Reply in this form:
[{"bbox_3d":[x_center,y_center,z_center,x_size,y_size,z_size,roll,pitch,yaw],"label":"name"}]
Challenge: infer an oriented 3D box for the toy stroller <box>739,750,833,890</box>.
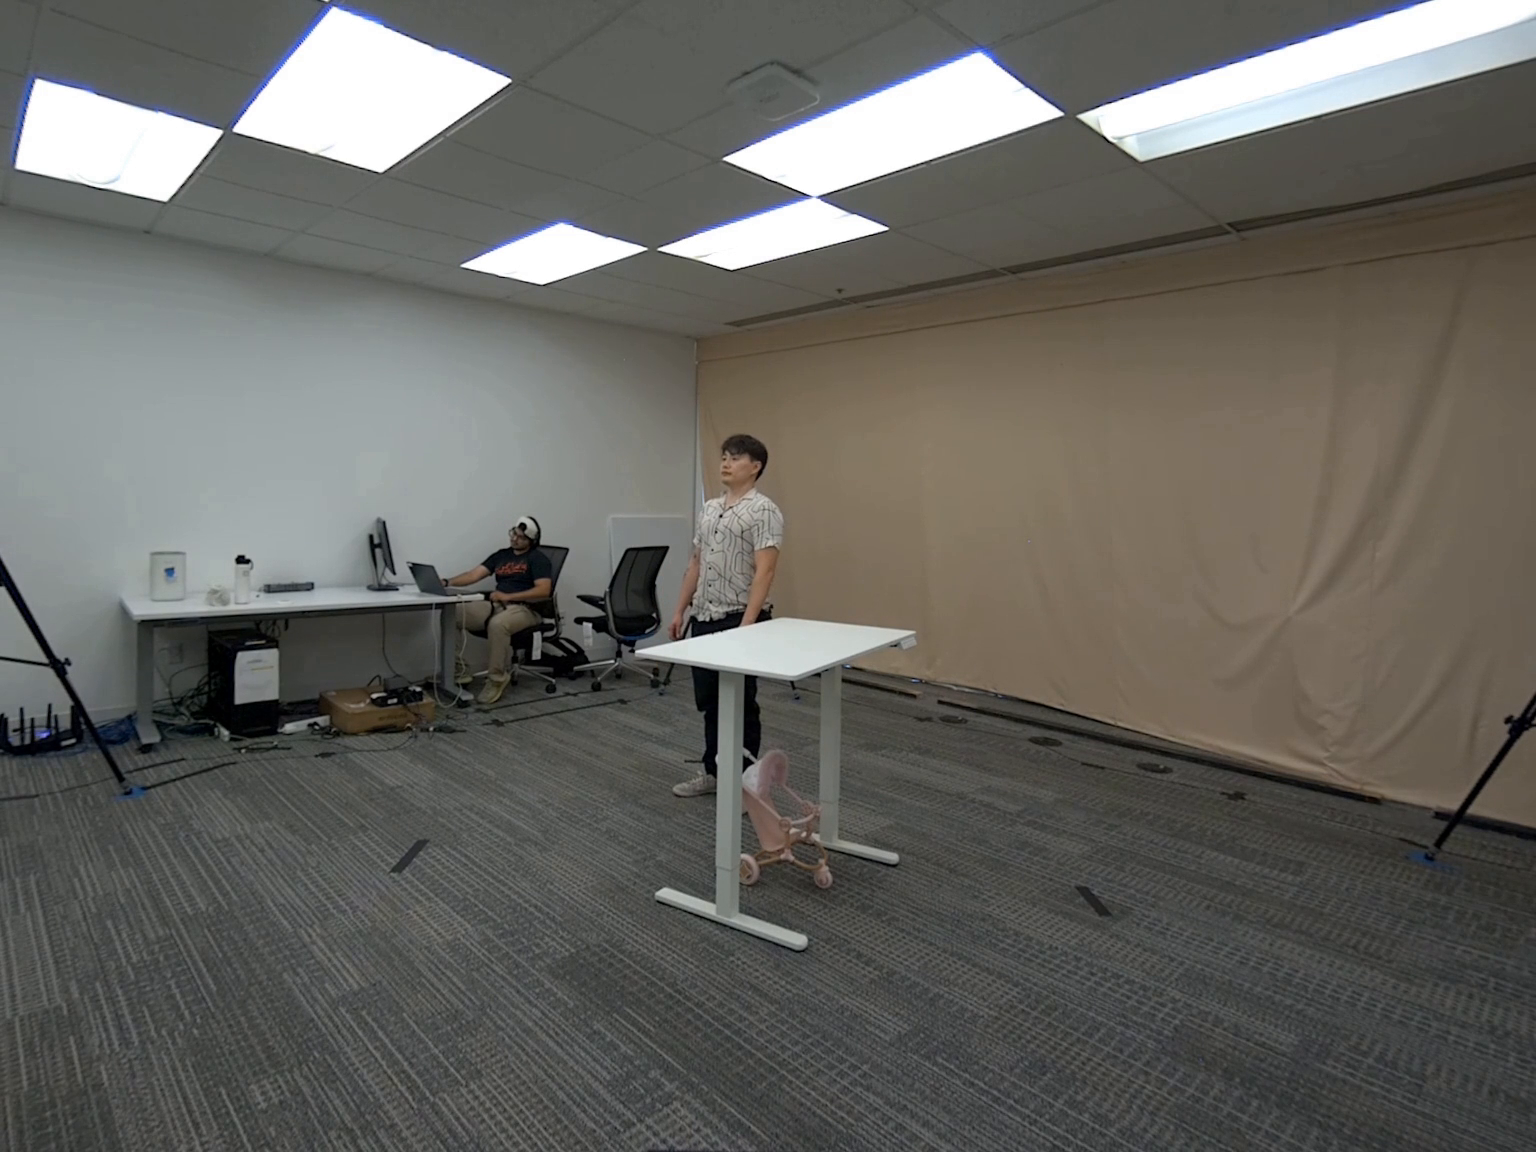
[{"bbox_3d":[0.021,0.881,3.095,0.346,0.538,0.276,-15,-6,33],"label":"toy stroller"}]
